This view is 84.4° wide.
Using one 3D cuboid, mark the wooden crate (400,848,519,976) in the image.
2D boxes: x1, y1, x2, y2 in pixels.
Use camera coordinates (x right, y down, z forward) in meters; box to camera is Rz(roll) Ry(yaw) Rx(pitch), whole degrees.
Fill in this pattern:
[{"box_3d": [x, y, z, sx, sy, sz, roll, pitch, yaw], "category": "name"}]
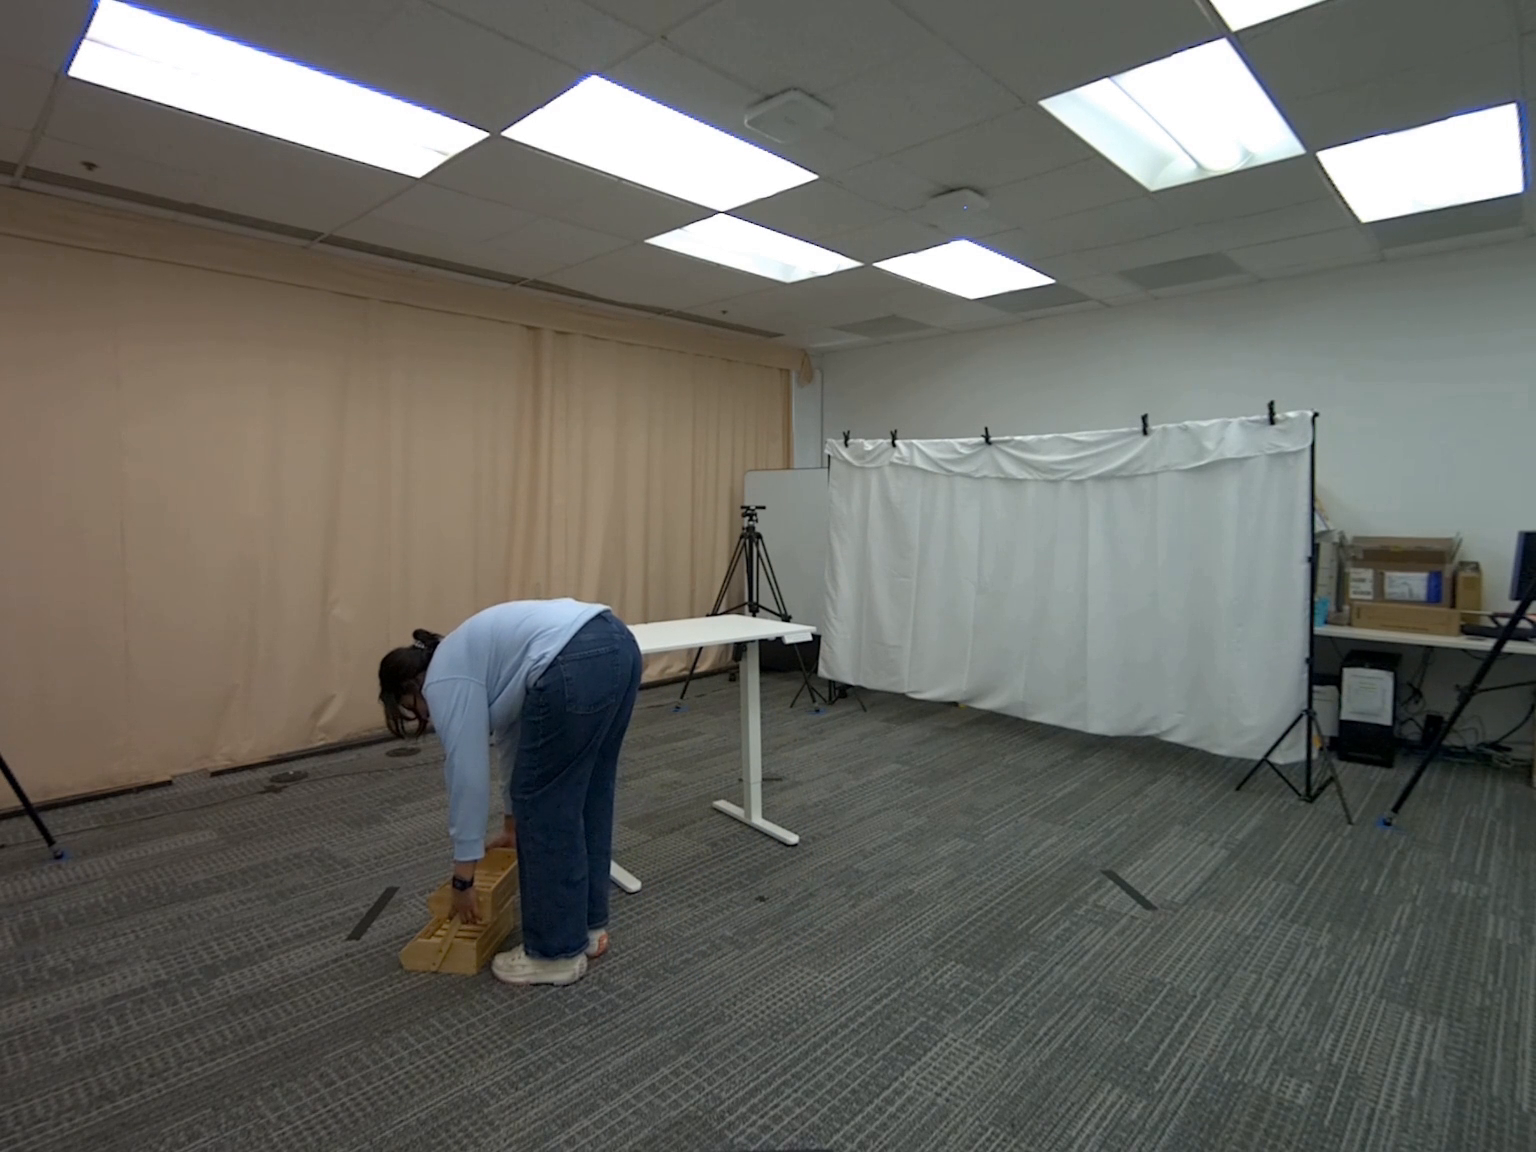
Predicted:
[{"box_3d": [-0.965, 1.047, 2.659, 0.304, 0.273, 0.323, 0, 4, 6], "category": "wooden crate"}]
